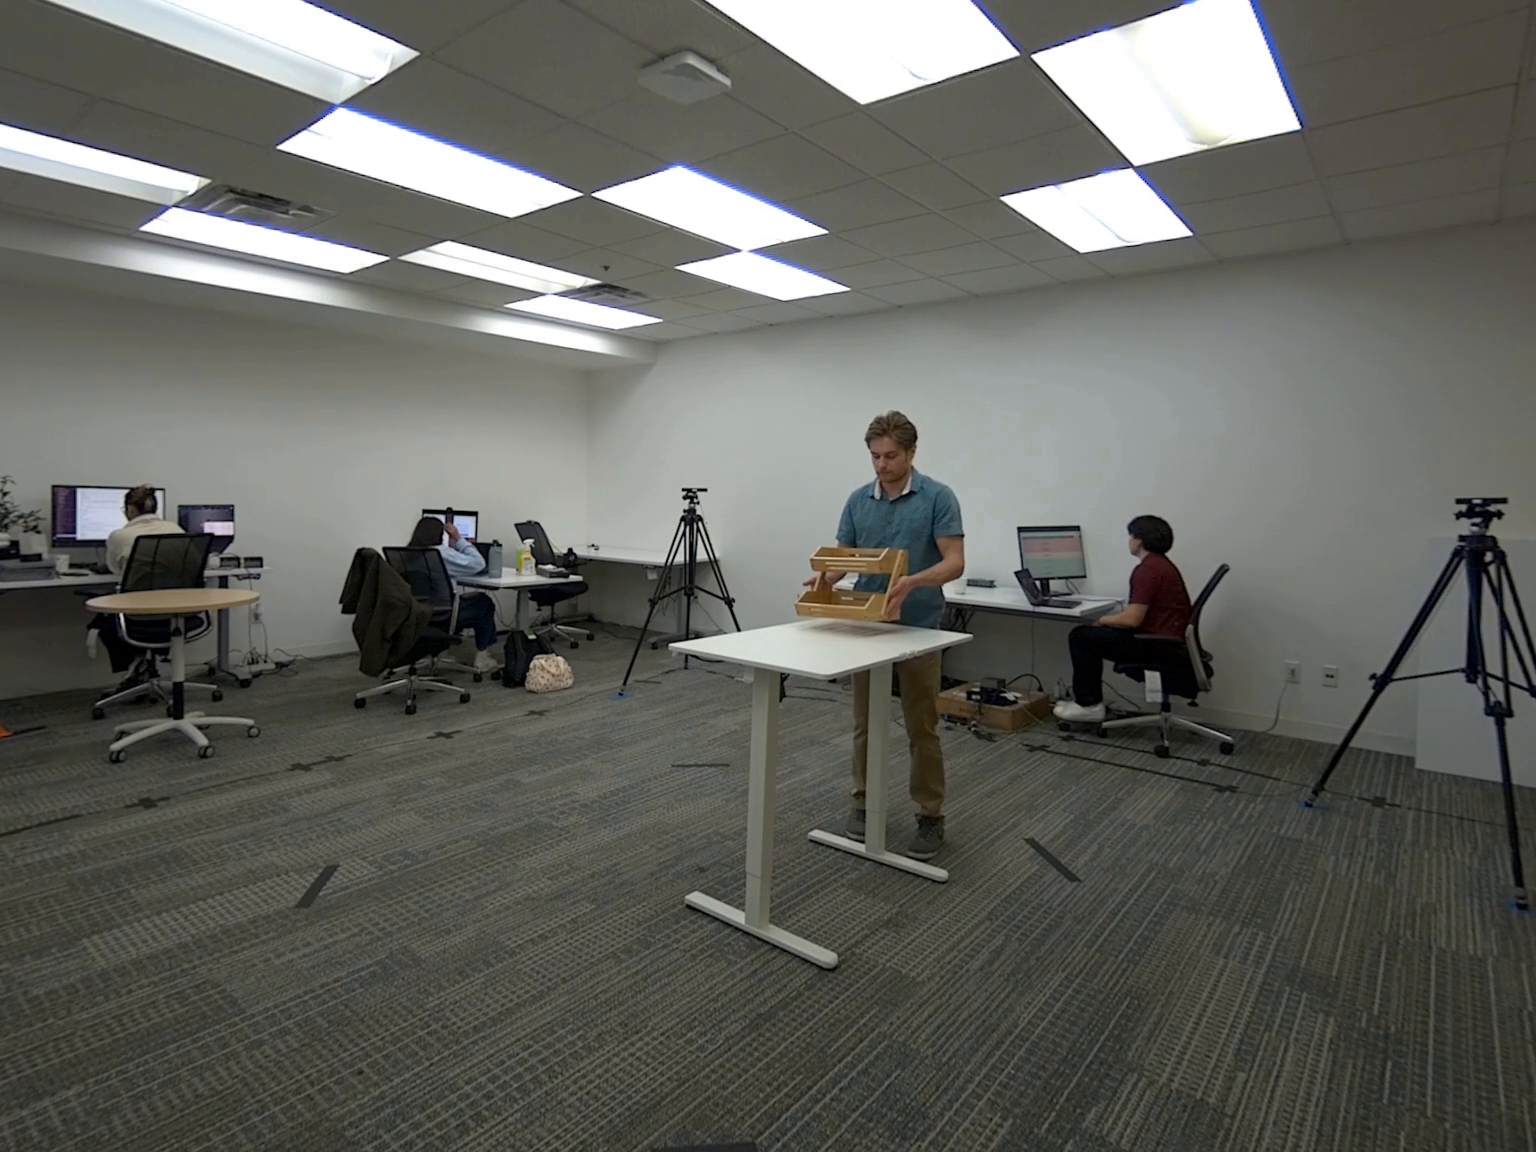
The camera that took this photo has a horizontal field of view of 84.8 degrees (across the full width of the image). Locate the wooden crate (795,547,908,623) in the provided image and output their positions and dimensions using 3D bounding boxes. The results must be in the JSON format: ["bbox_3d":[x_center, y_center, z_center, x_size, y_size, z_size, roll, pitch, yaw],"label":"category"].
[{"bbox_3d":[0.308,0.018,3.164,0.335,0.274,0.292,2,-1,38],"label":"wooden crate"}]
